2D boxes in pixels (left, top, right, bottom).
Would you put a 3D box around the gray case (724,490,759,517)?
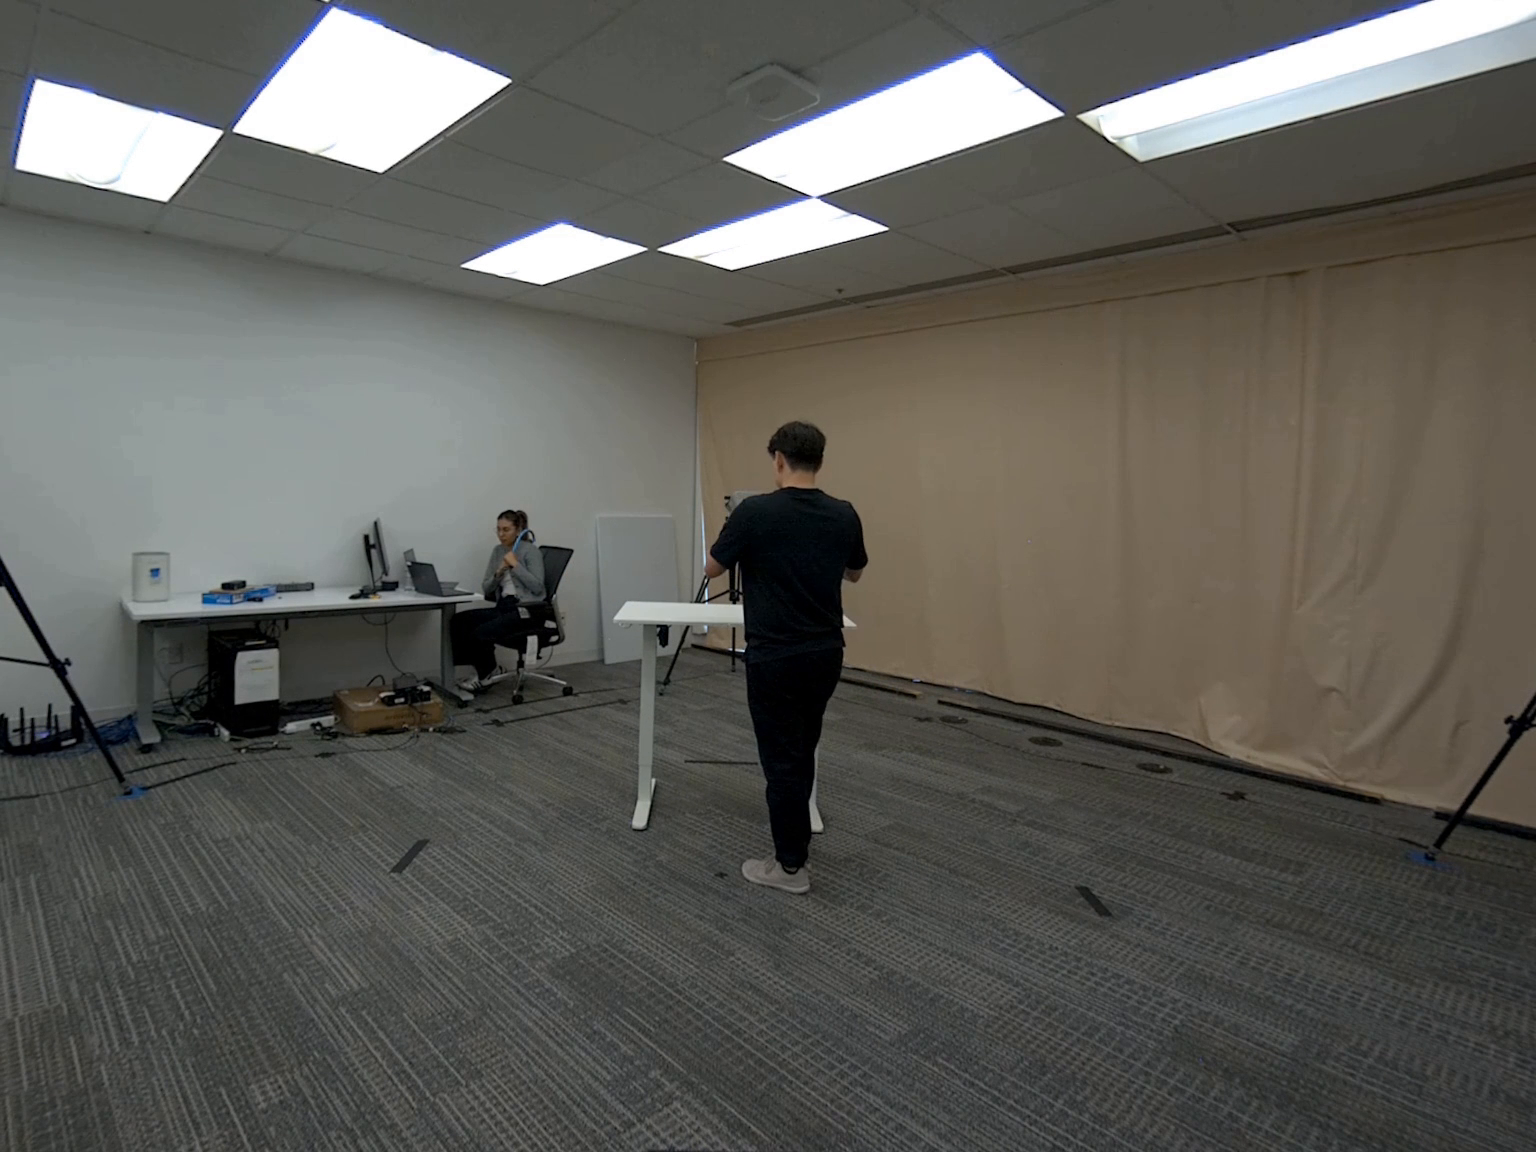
[{"bbox_3d":[-0.005,-0.219,3.379,0.253,0.267,0.103,4,-42,-19],"label":"gray case"}]
